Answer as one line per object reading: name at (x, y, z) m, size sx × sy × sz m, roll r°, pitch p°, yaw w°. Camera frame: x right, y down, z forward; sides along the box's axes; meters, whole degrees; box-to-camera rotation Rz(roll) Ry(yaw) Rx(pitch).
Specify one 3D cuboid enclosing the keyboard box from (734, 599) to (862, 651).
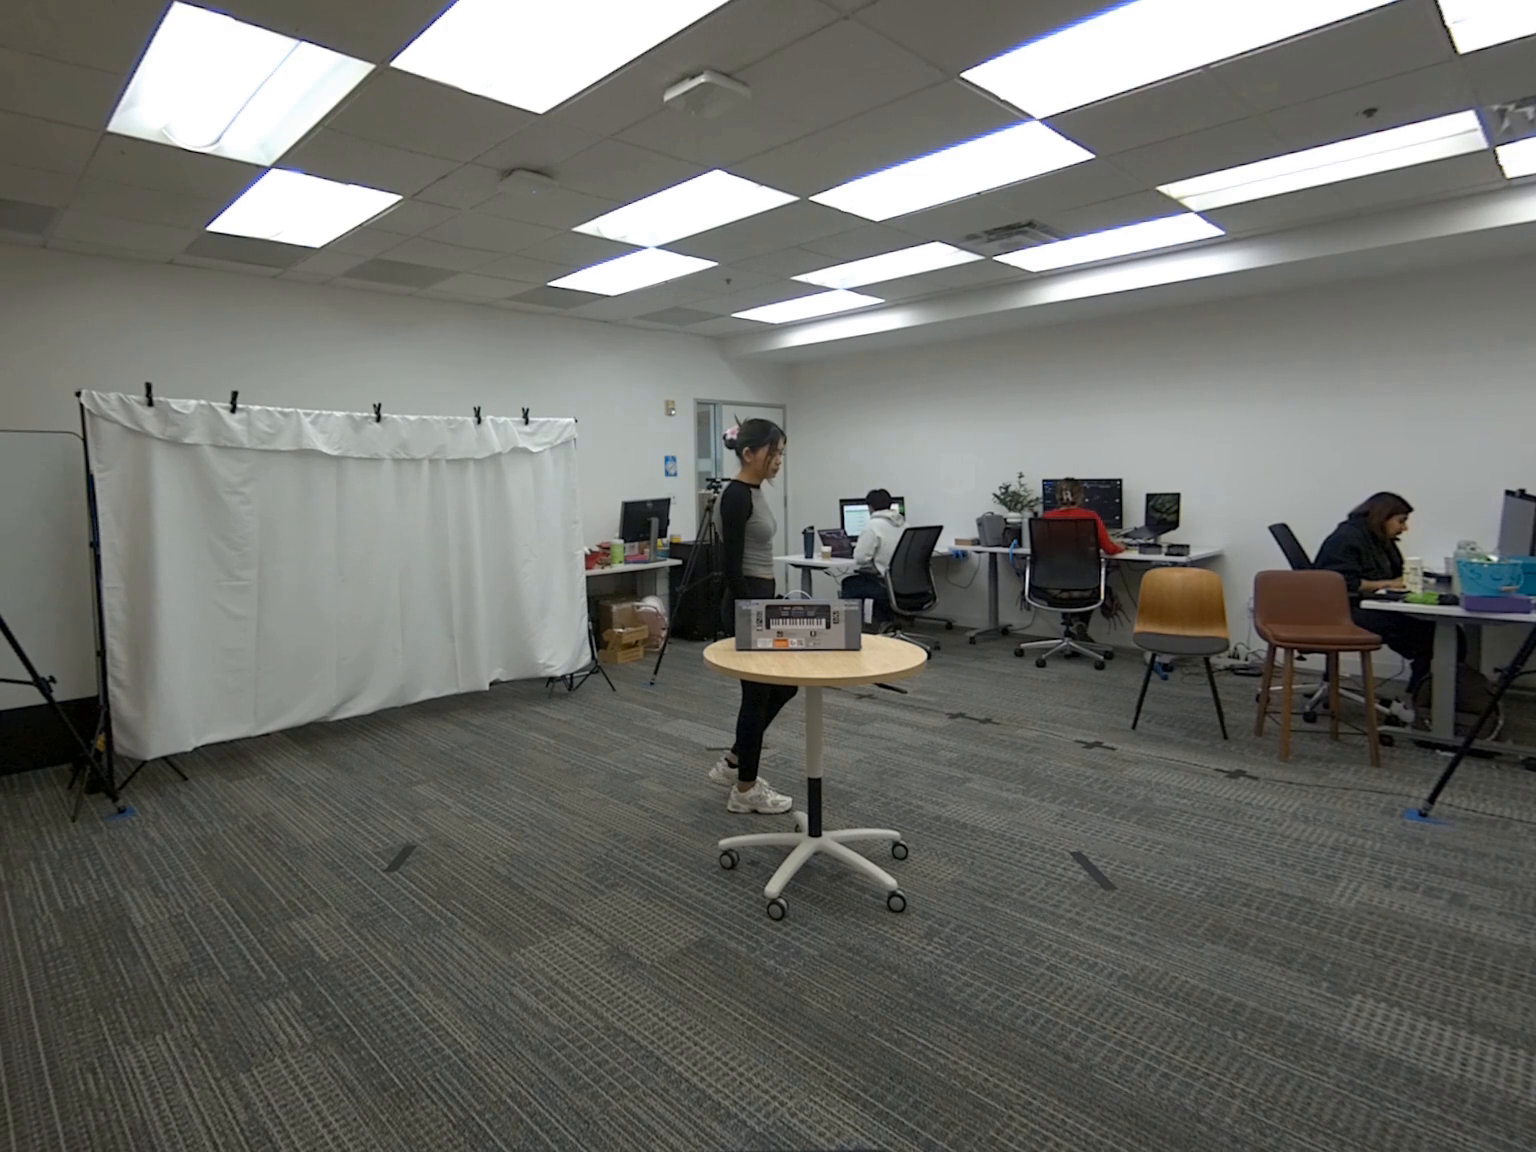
keyboard box at (0.107, 0.165, 2.991) m, size 0.437 × 0.176 × 0.059 m, roll -1°, pitch -1°, yaw 1°
